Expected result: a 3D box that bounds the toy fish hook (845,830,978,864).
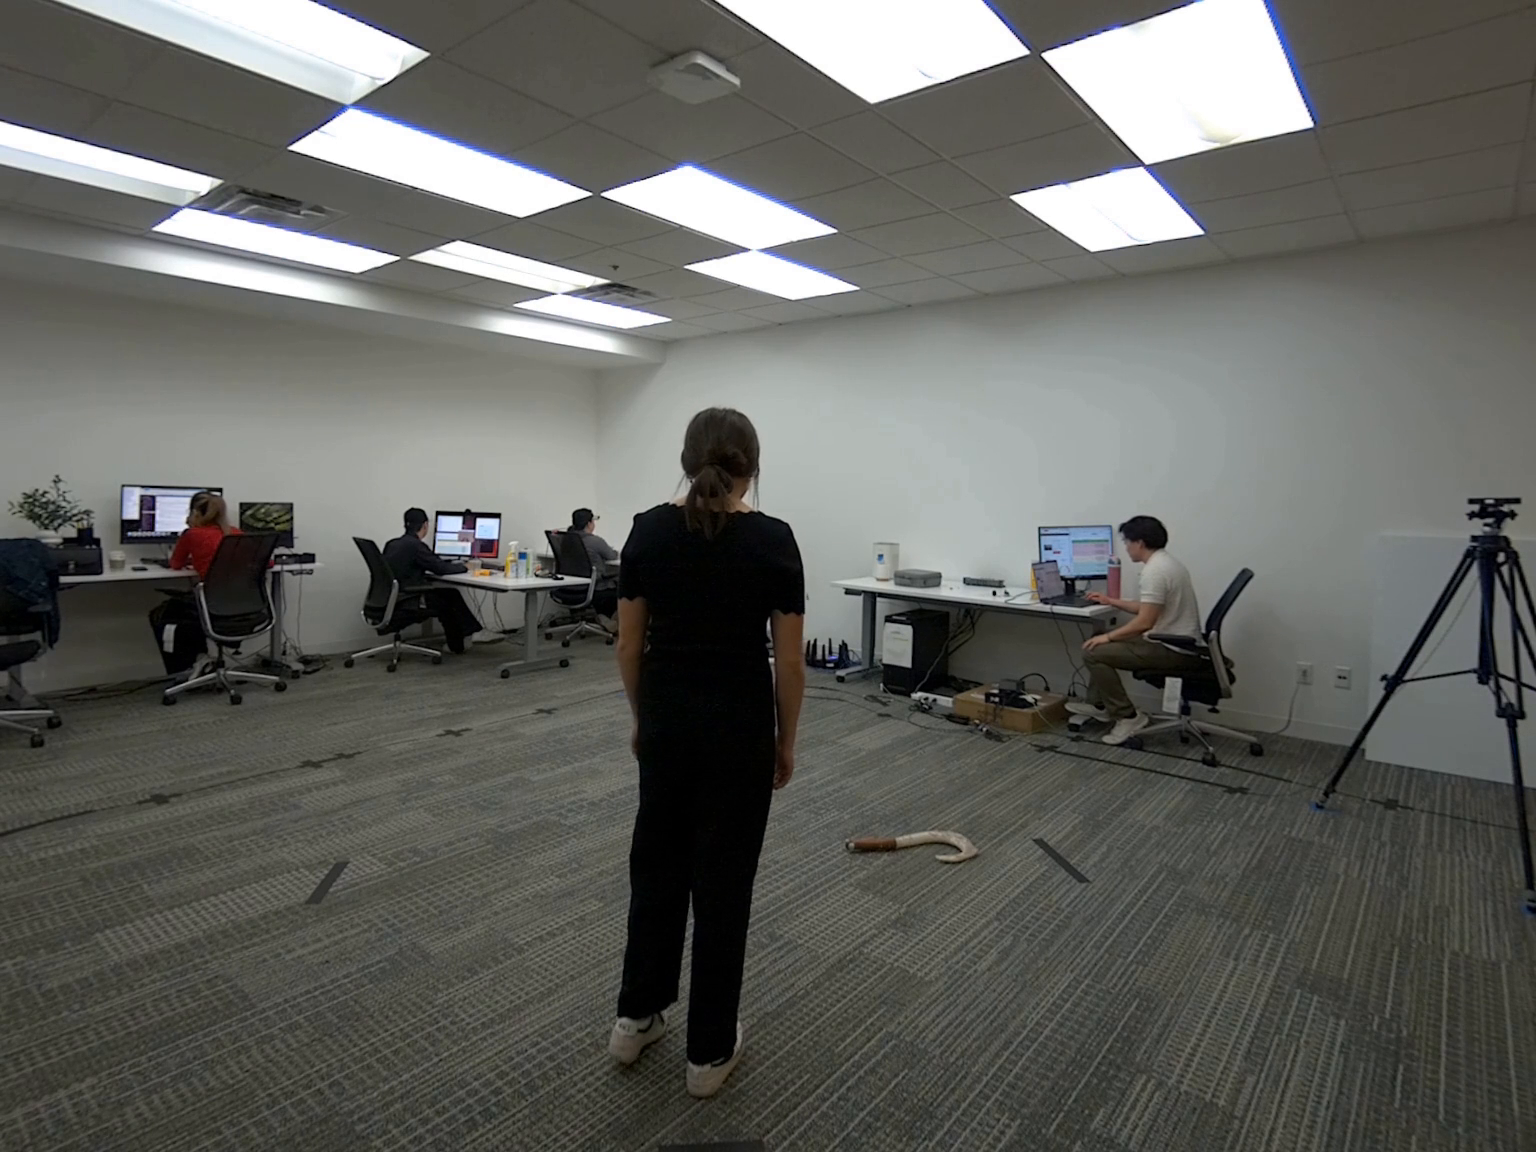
[{"bbox_3d":[0.550,1.042,3.281,0.500,0.048,0.228,0,5,-12],"label":"toy fish hook"}]
